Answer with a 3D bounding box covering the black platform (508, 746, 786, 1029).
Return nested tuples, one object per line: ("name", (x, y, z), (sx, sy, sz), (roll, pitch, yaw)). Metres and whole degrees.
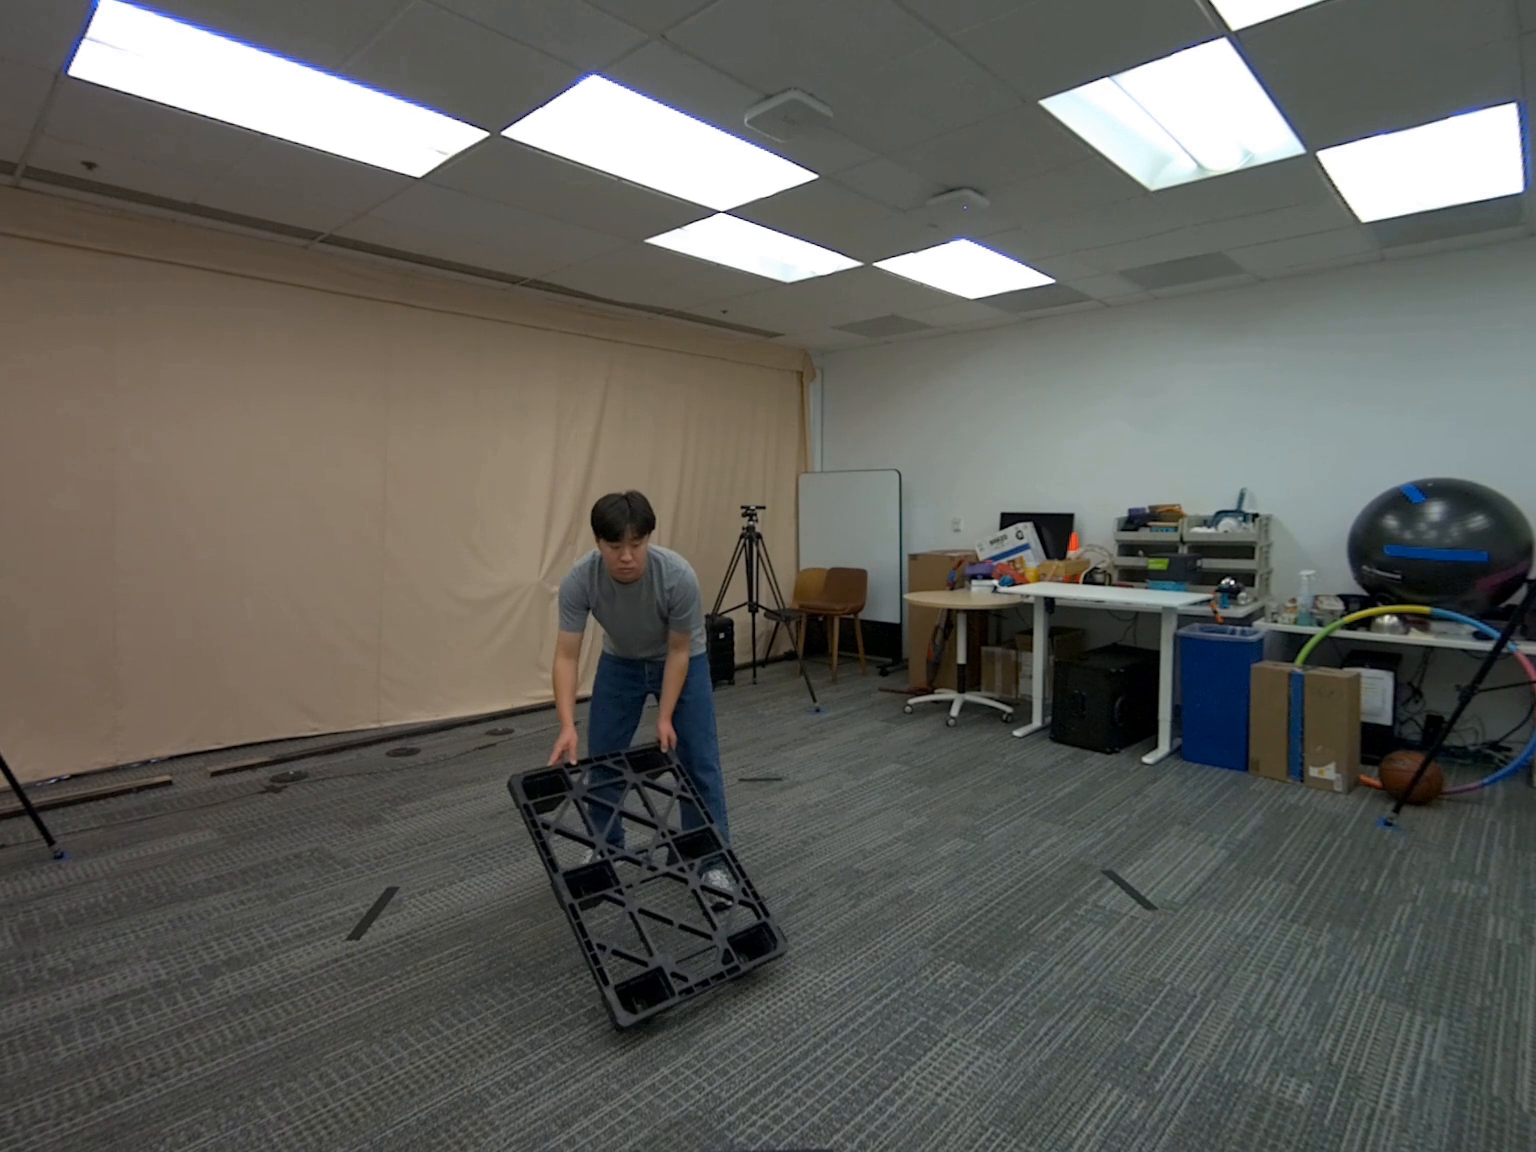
("black platform", (-0.382, 0.904, 2.558), (0.587, 0.143, 0.832), (-4, 43, -40))
